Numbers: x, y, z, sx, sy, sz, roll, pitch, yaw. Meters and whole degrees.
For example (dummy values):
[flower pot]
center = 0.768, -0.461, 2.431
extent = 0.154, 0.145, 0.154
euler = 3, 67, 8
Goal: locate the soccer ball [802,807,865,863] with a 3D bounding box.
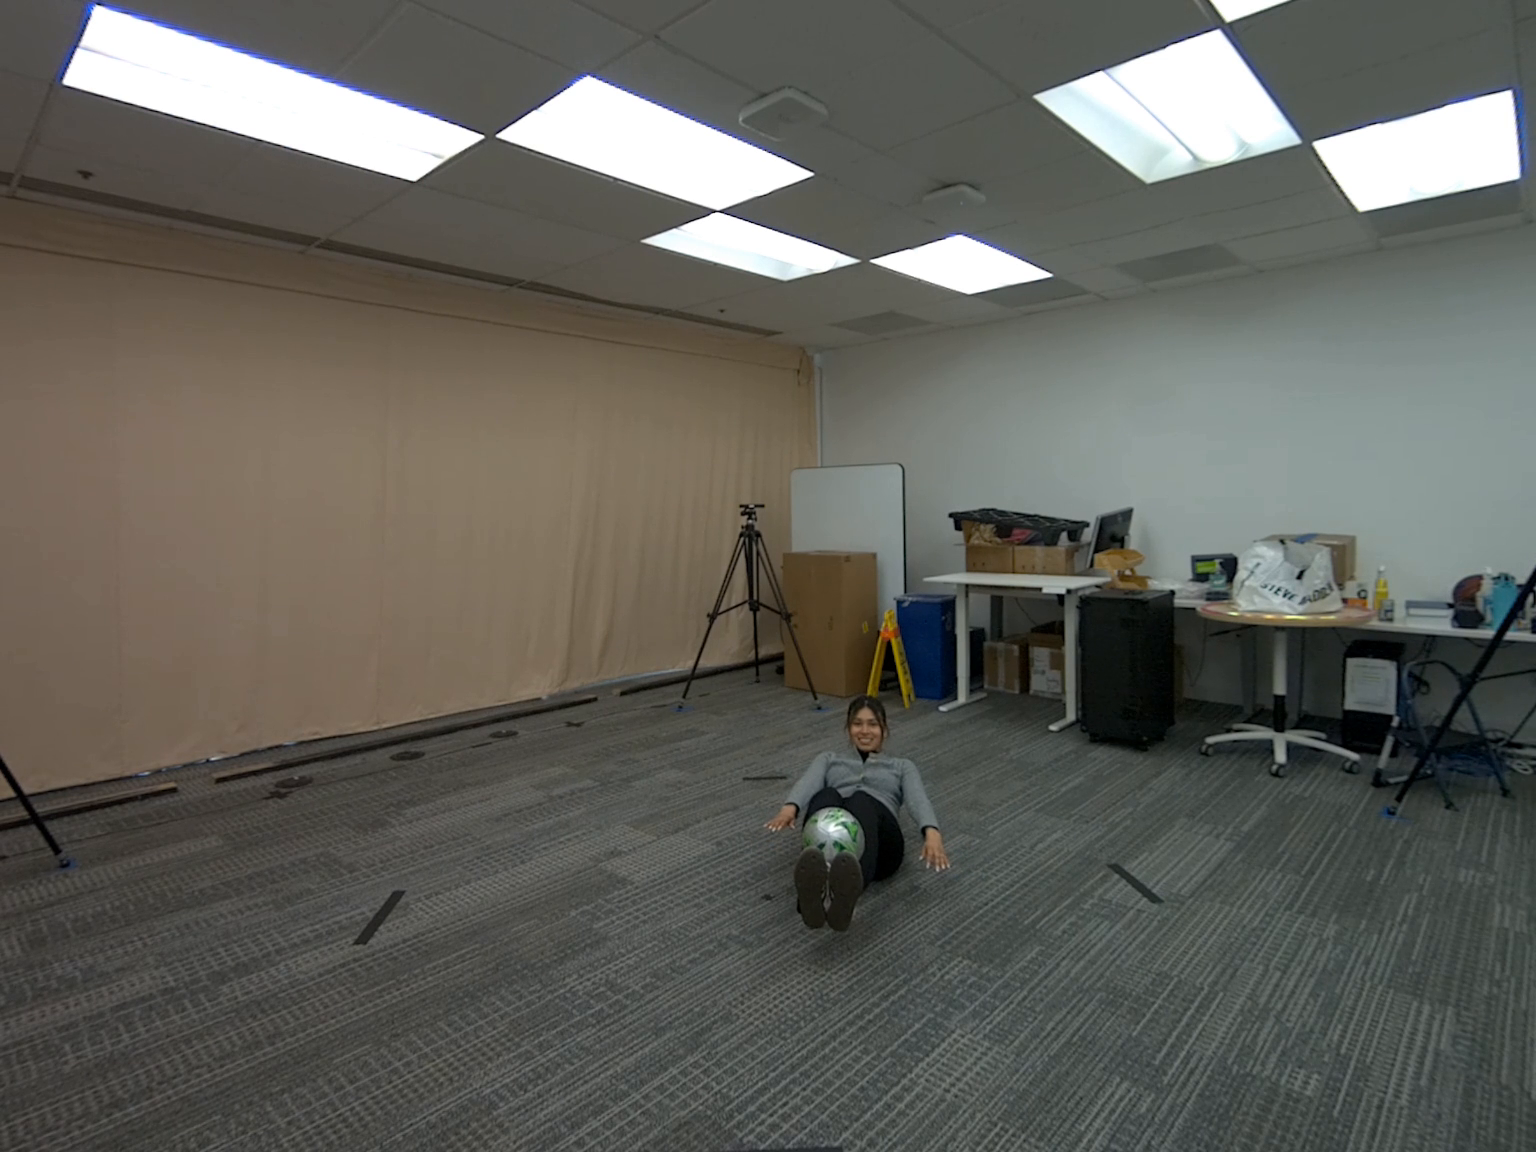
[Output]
[soccer ball]
center = 0.204, 0.799, 2.536
extent = 0.187, 0.187, 0.188
euler = -1, 4, -2
